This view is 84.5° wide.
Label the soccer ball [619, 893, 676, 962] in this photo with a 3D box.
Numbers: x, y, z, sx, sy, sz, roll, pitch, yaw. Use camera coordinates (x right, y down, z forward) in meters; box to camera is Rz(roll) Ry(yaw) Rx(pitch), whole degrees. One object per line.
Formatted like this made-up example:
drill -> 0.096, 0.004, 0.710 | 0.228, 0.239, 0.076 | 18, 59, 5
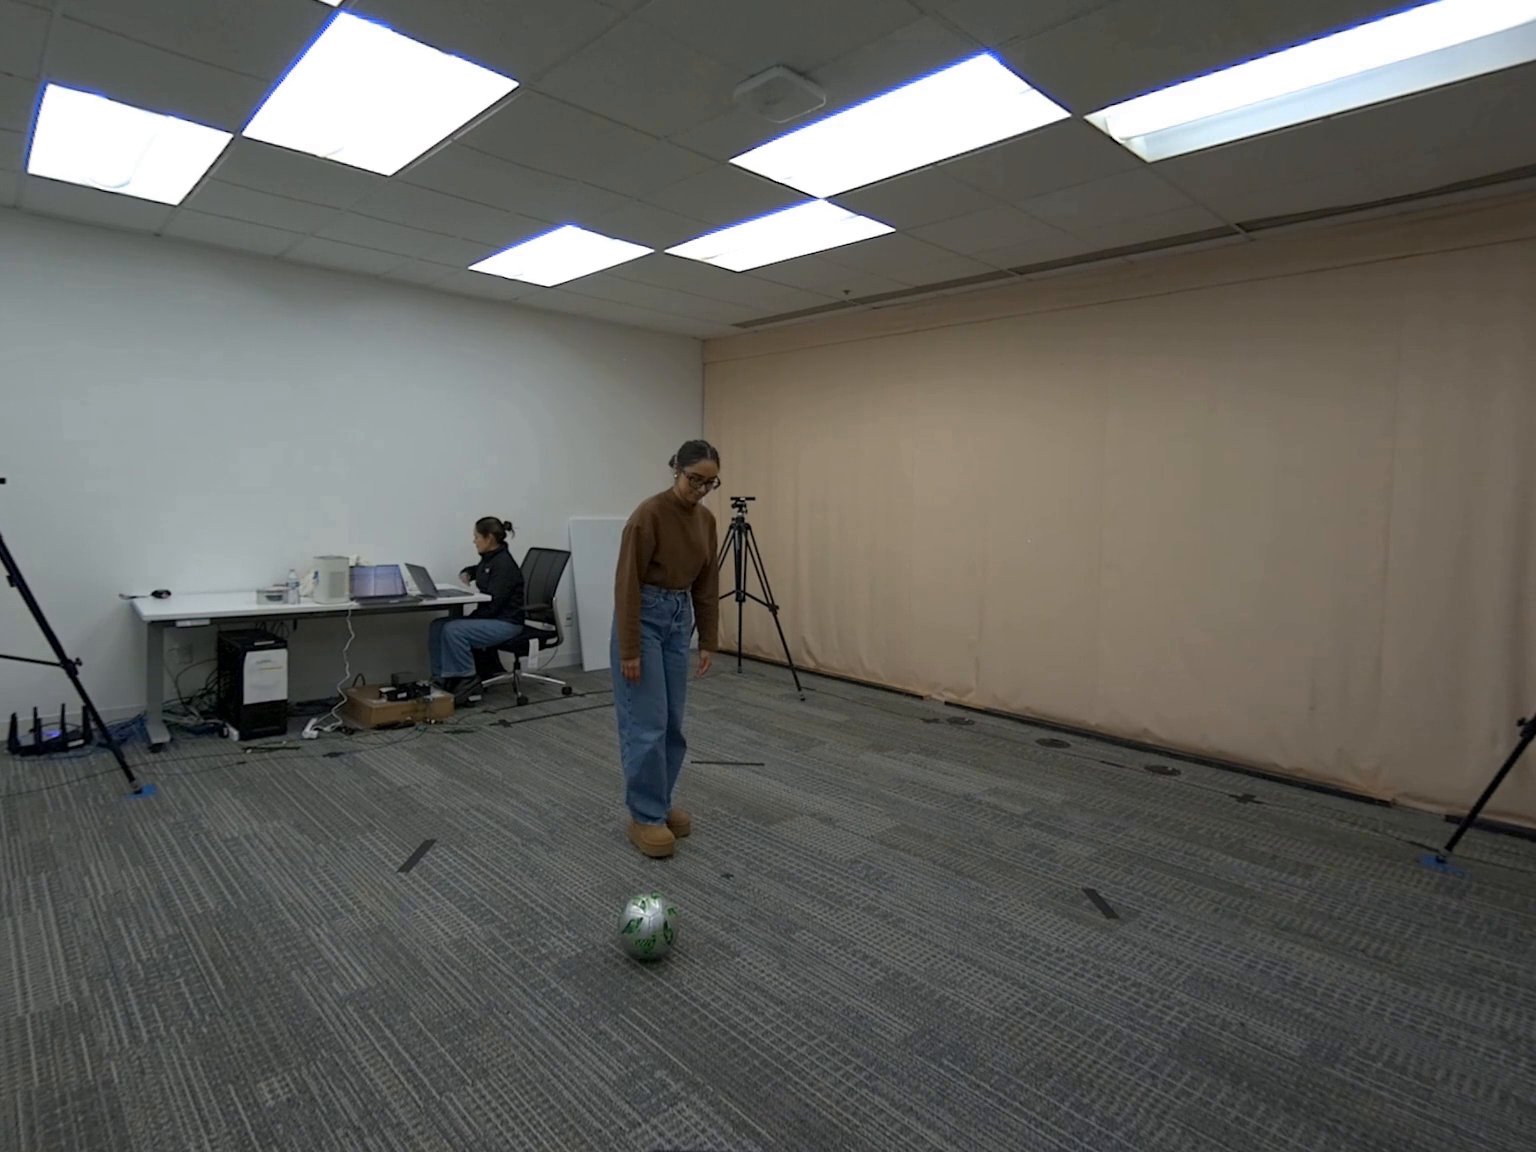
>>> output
soccer ball -> -0.367, 1.060, 2.539 | 0.187, 0.187, 0.188 | 1, 4, -1
